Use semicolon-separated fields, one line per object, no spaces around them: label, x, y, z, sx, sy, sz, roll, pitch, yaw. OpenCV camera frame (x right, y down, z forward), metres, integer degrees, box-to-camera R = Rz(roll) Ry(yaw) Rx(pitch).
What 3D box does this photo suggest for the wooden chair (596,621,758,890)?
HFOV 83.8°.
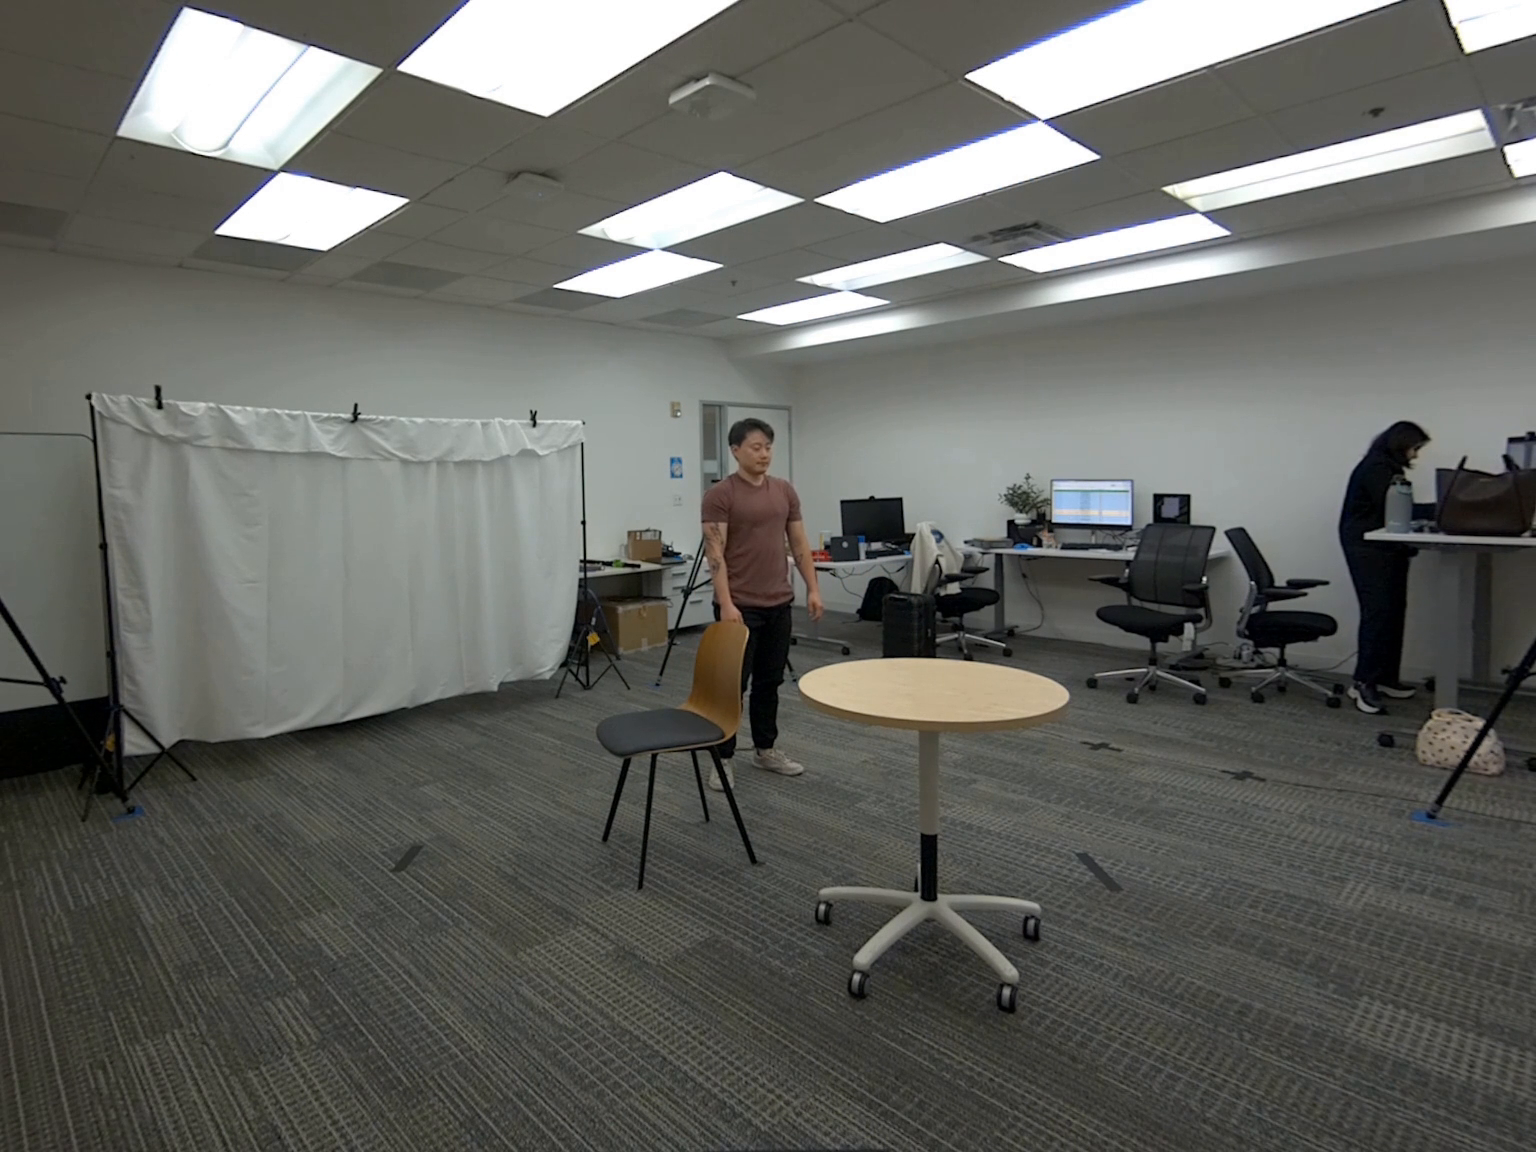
wooden chair;-0.355;0.618;3.183;0.511;0.875;0.490;2;3;-26
